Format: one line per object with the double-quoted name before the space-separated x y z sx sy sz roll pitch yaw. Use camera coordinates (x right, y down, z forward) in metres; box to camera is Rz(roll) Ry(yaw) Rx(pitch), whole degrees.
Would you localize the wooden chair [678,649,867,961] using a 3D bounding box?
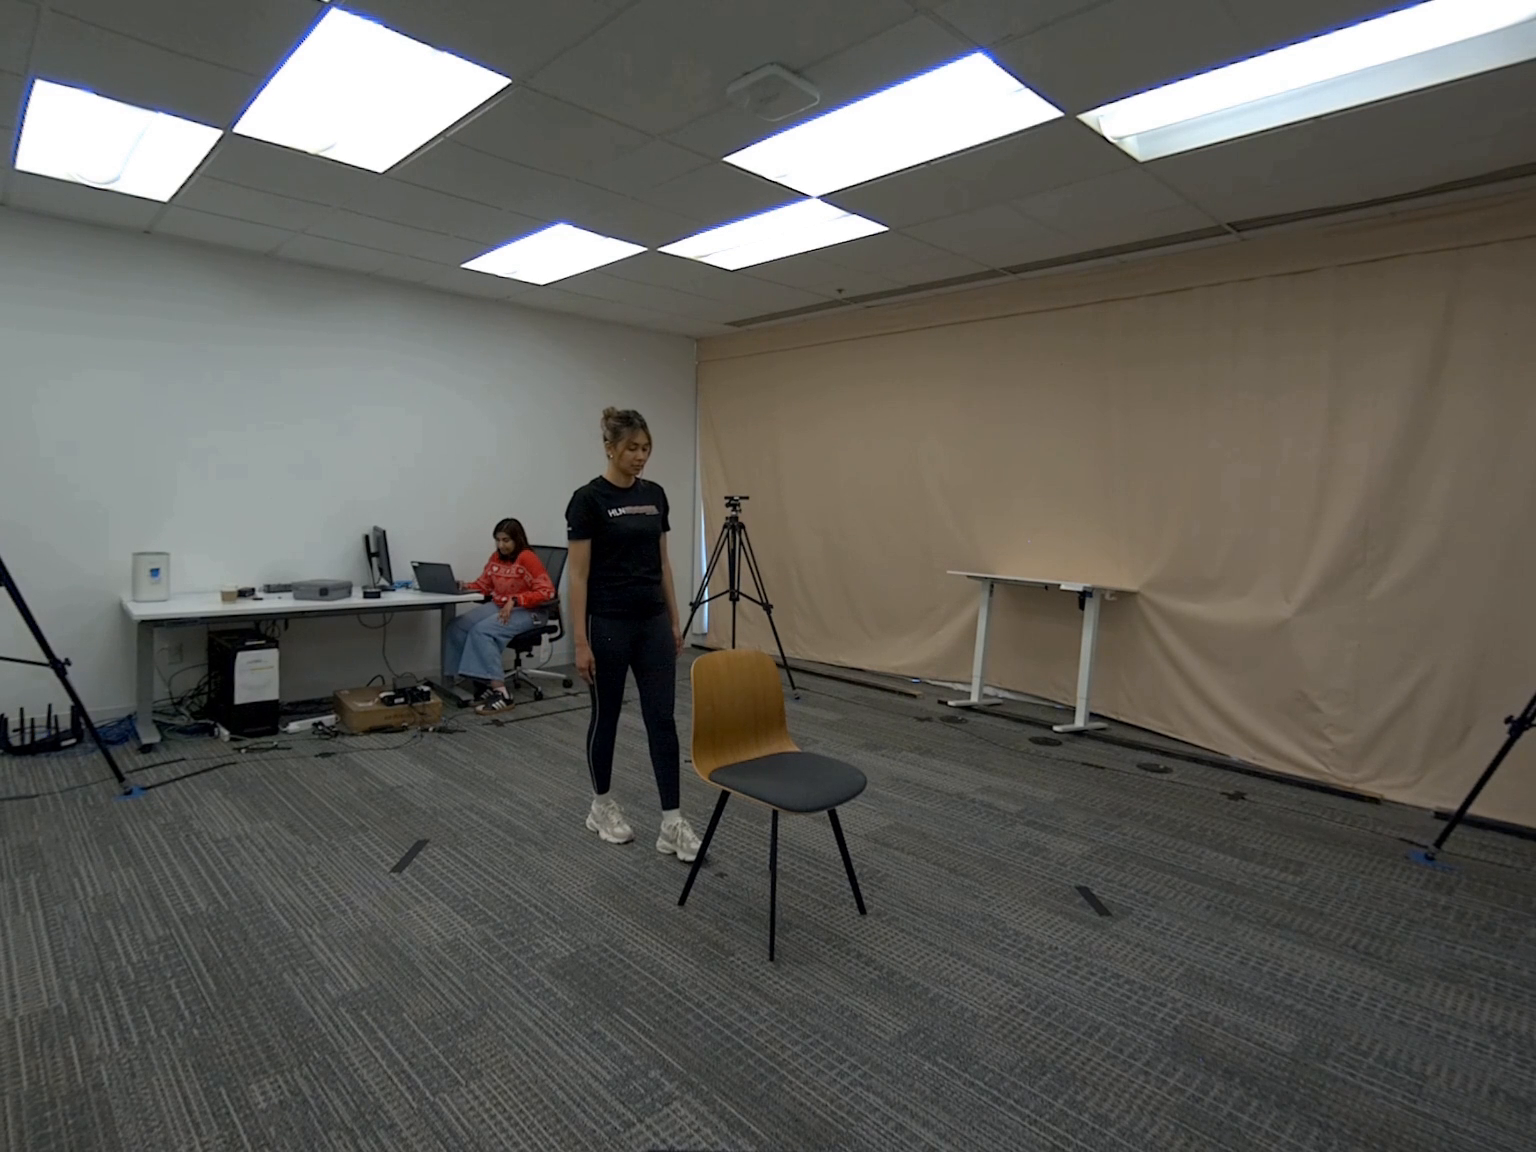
"wooden chair" 0.026 0.707 2.806 0.467 0.877 0.535 -2 0 -43
